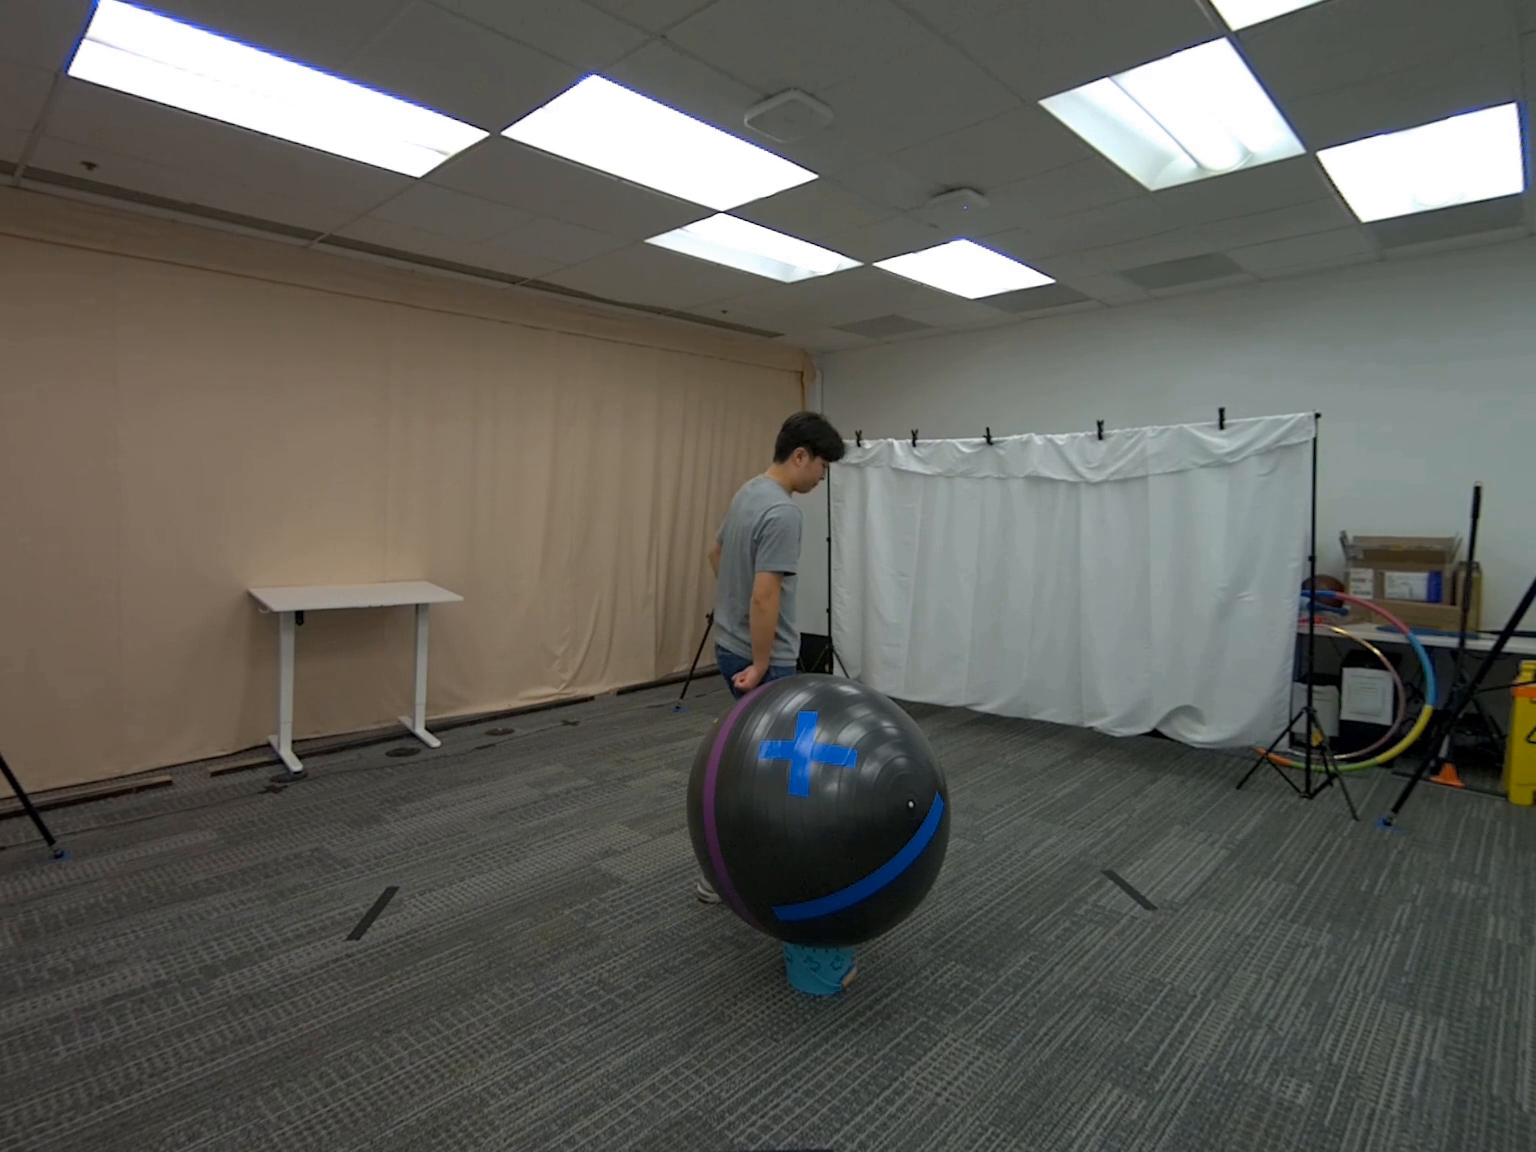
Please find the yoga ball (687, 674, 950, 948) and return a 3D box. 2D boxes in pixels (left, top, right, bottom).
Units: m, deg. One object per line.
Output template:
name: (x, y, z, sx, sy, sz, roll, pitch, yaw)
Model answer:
yoga ball: (0.146, 0.681, 2.457, 0.757, 0.756, 0.760, 0, 4, -2)
